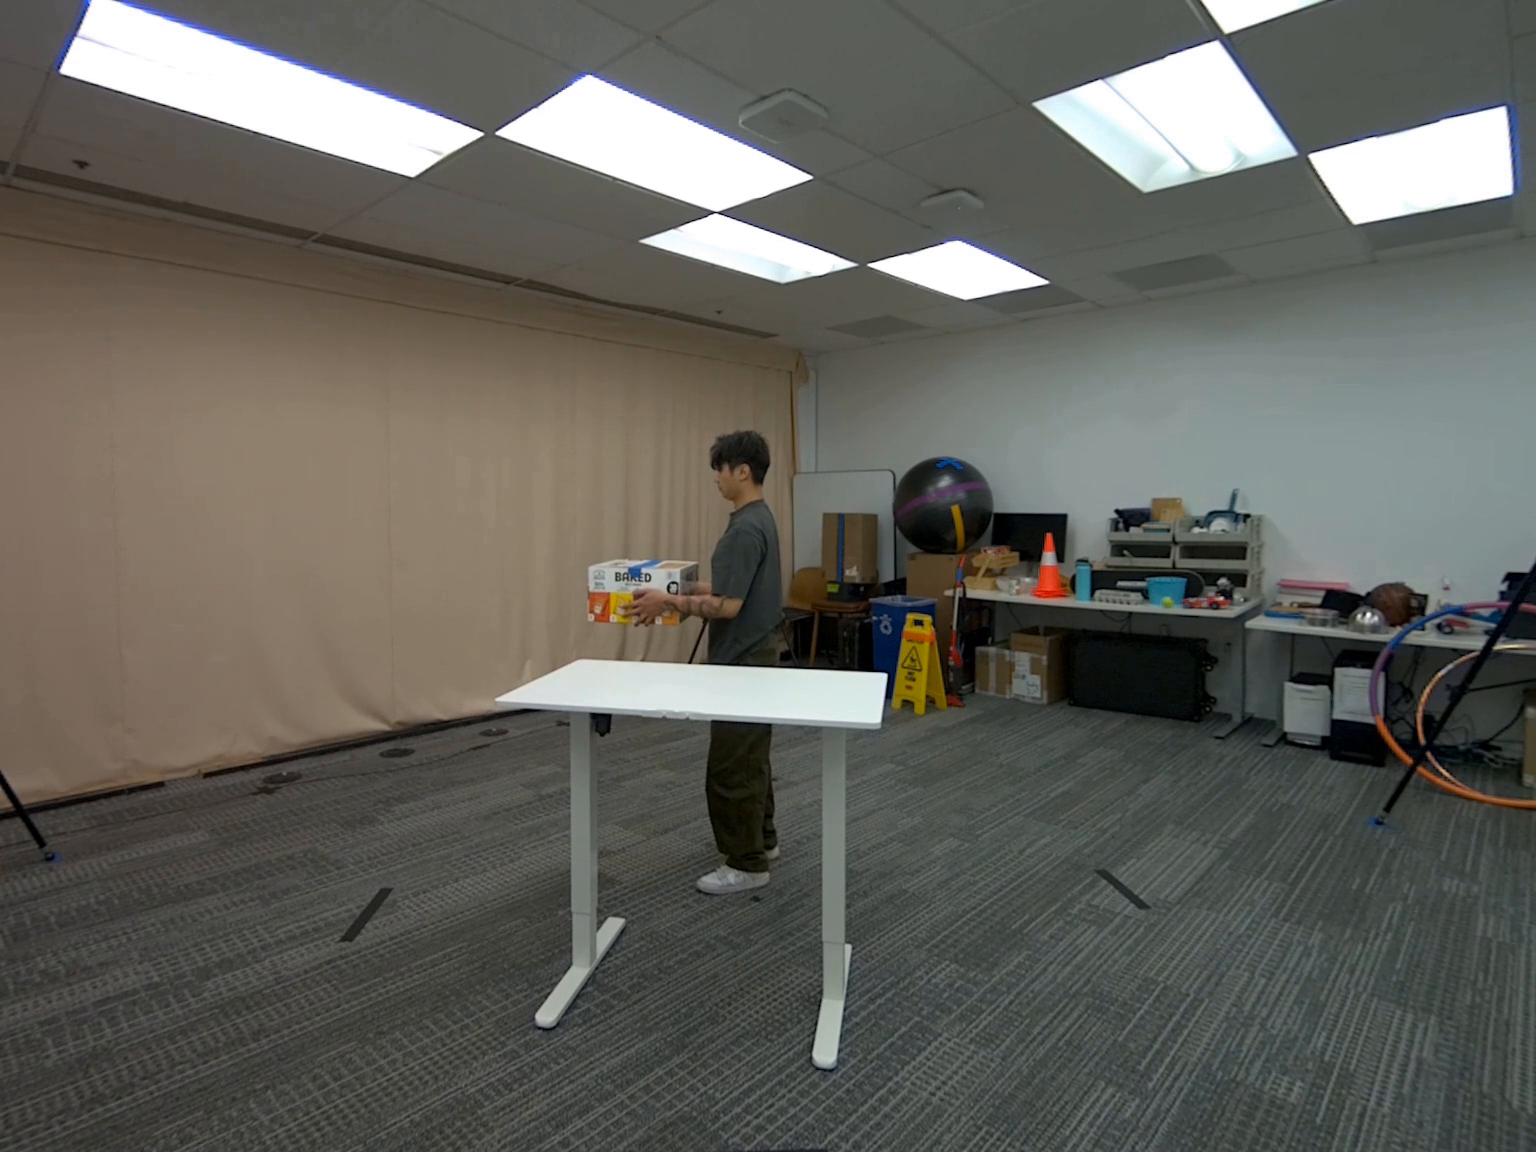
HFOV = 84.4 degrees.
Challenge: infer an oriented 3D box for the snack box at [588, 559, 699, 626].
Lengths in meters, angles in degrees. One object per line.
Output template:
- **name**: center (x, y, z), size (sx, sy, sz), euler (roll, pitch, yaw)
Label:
- **snack box**: center (-0.464, 0.055, 3.231), size (0.343, 0.205, 0.403), euler (2, 4, 7)
